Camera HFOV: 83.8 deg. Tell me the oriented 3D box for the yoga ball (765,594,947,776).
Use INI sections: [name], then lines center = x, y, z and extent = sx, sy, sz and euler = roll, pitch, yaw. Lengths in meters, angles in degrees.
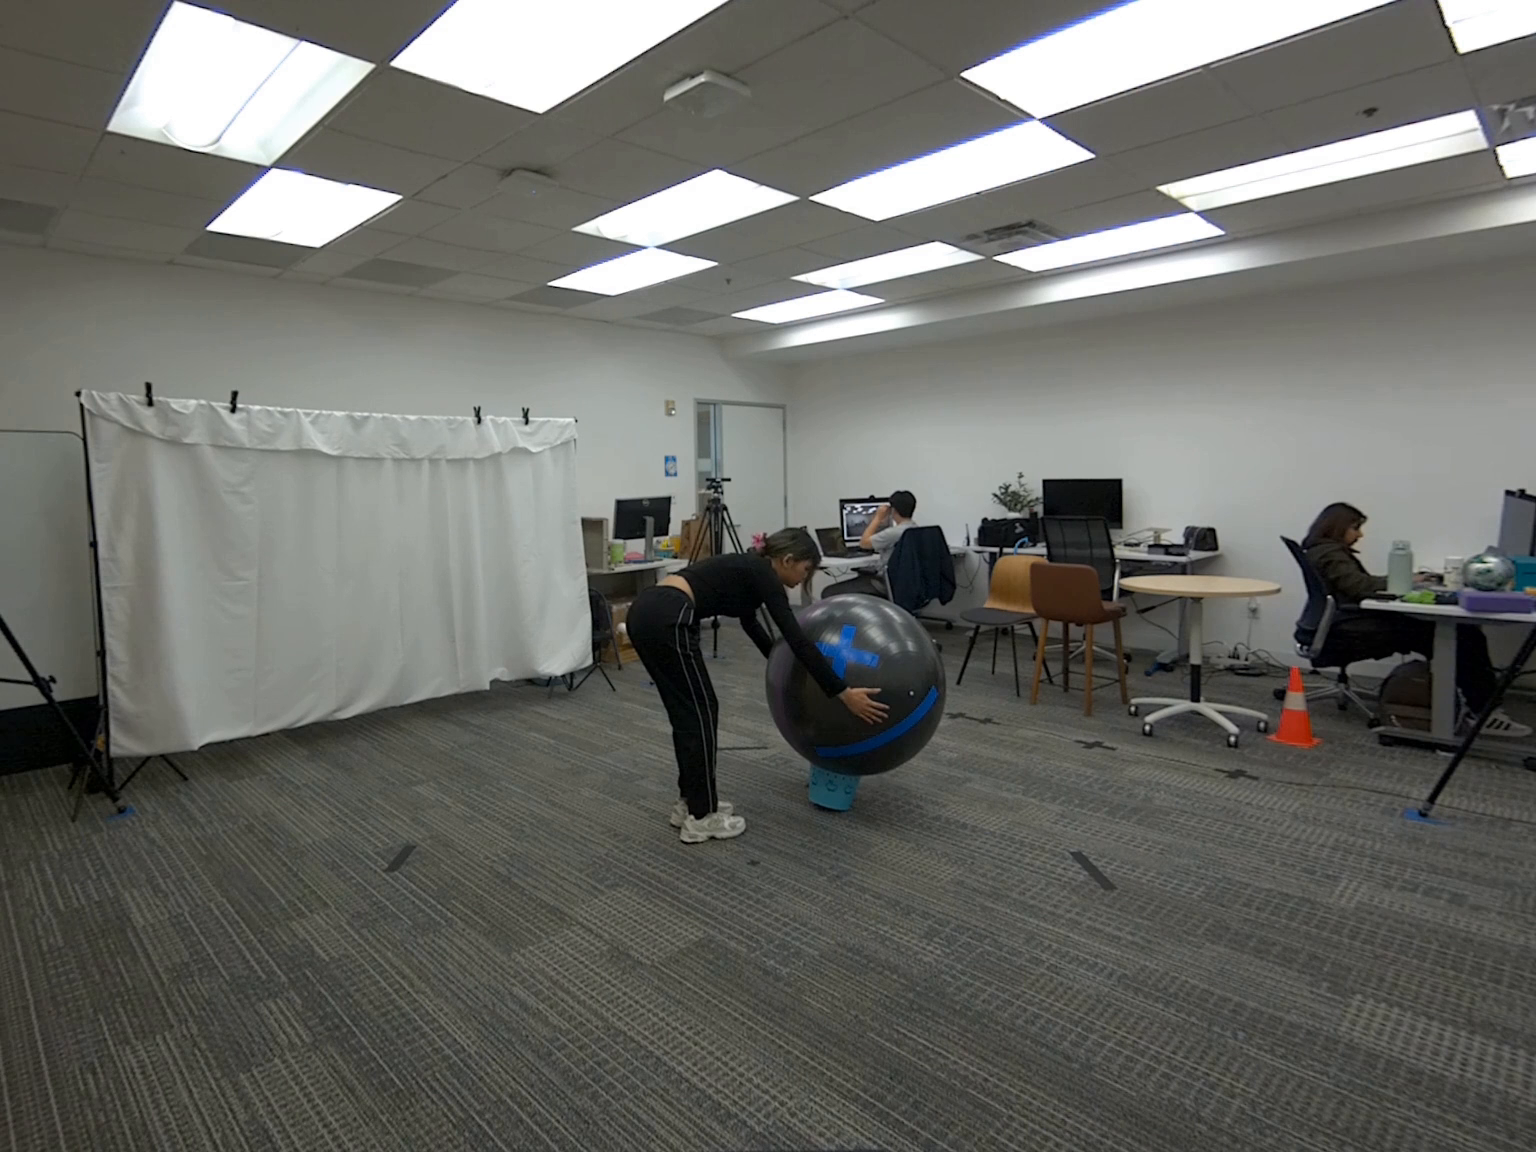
[yoga ball]
center = 0.370, 0.460, 3.638
extent = 0.757, 0.755, 0.762
euler = -1, 5, -2
